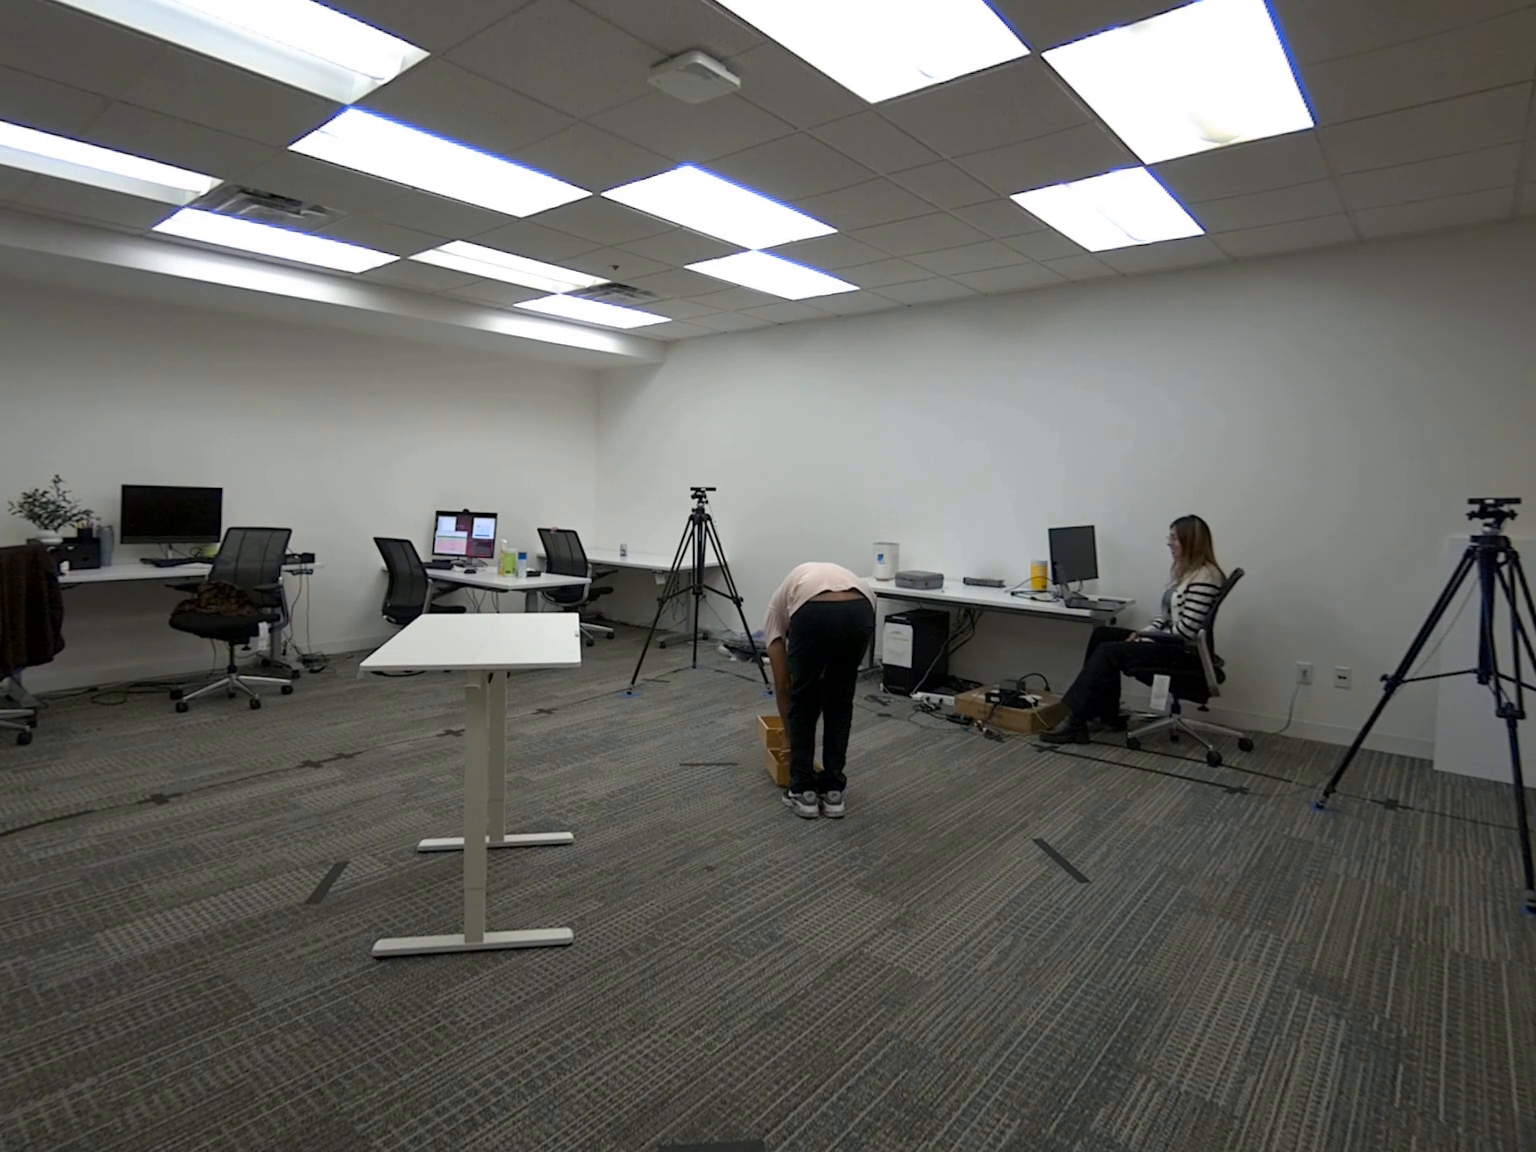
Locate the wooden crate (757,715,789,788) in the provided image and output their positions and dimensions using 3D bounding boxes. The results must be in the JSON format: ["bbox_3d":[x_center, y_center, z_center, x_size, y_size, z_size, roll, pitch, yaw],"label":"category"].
[{"bbox_3d":[0.109,0.827,4.126,0.299,0.273,0.328,0,2,-9],"label":"wooden crate"}]
